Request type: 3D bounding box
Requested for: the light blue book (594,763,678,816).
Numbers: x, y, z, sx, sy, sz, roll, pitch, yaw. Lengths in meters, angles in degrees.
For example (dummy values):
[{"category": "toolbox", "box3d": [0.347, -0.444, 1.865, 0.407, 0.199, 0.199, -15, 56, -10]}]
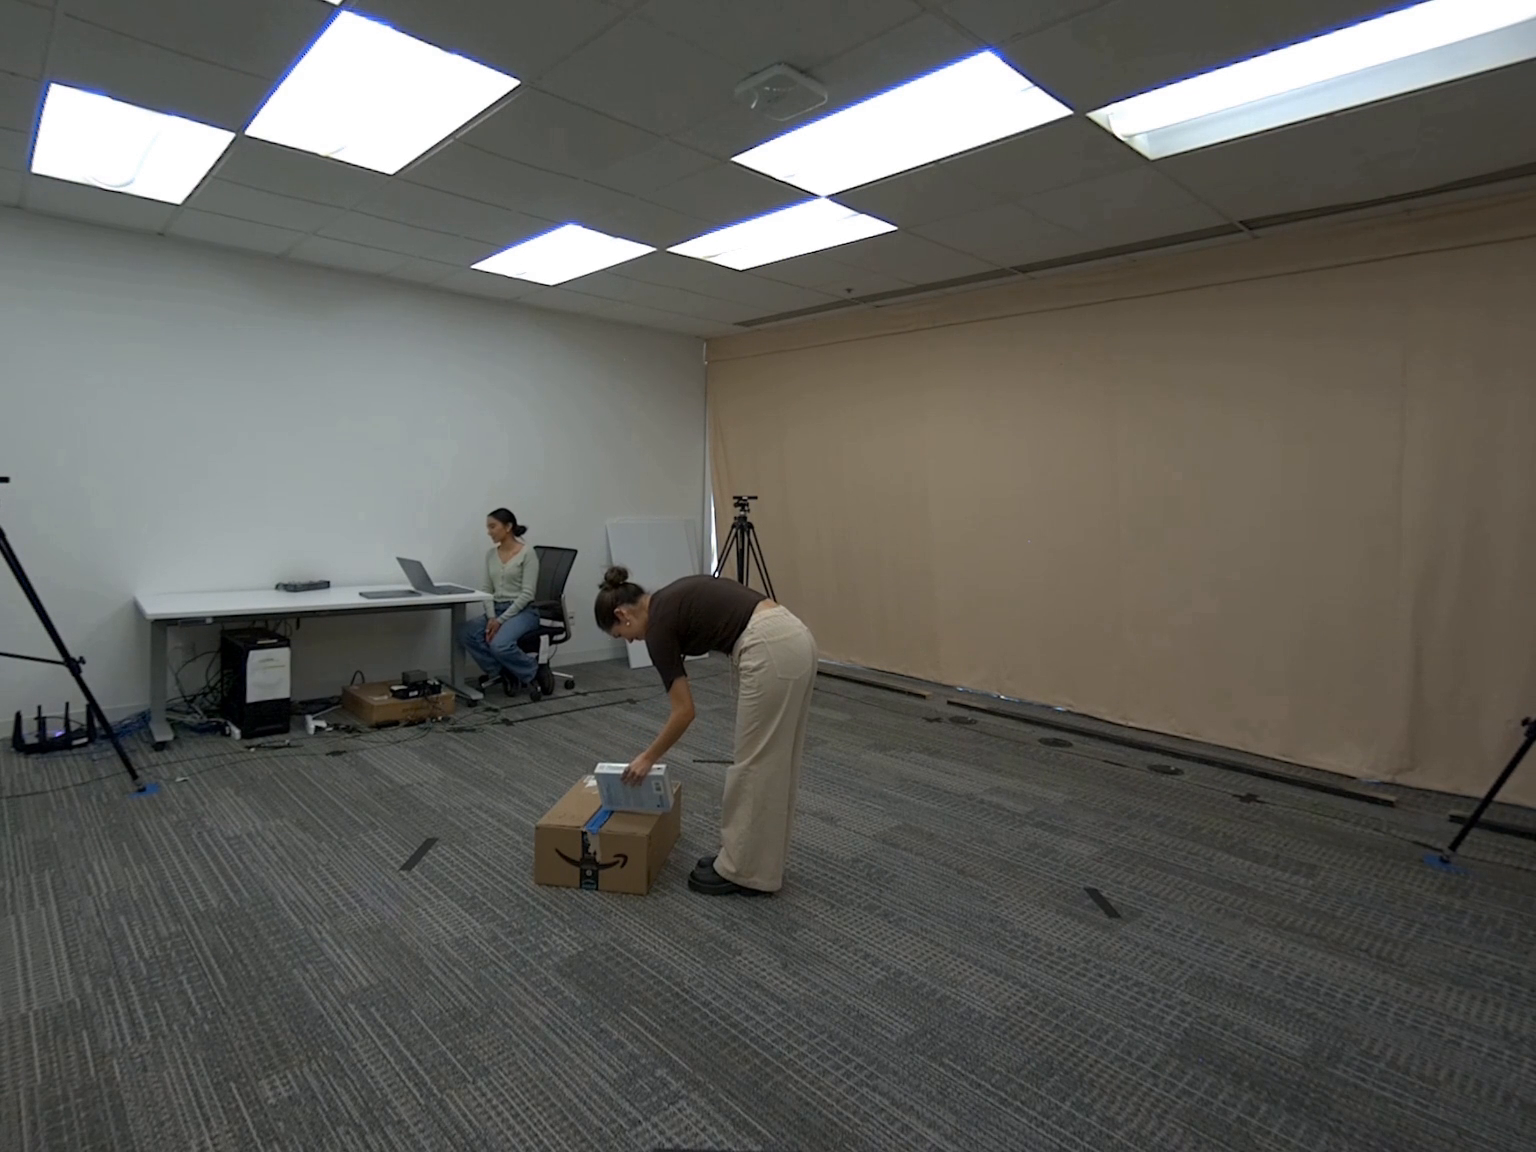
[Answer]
[{"category": "light blue book", "box3d": [-0.479, 0.772, 3.070, 0.263, 0.187, 0.060, -2, 28, 11]}]
